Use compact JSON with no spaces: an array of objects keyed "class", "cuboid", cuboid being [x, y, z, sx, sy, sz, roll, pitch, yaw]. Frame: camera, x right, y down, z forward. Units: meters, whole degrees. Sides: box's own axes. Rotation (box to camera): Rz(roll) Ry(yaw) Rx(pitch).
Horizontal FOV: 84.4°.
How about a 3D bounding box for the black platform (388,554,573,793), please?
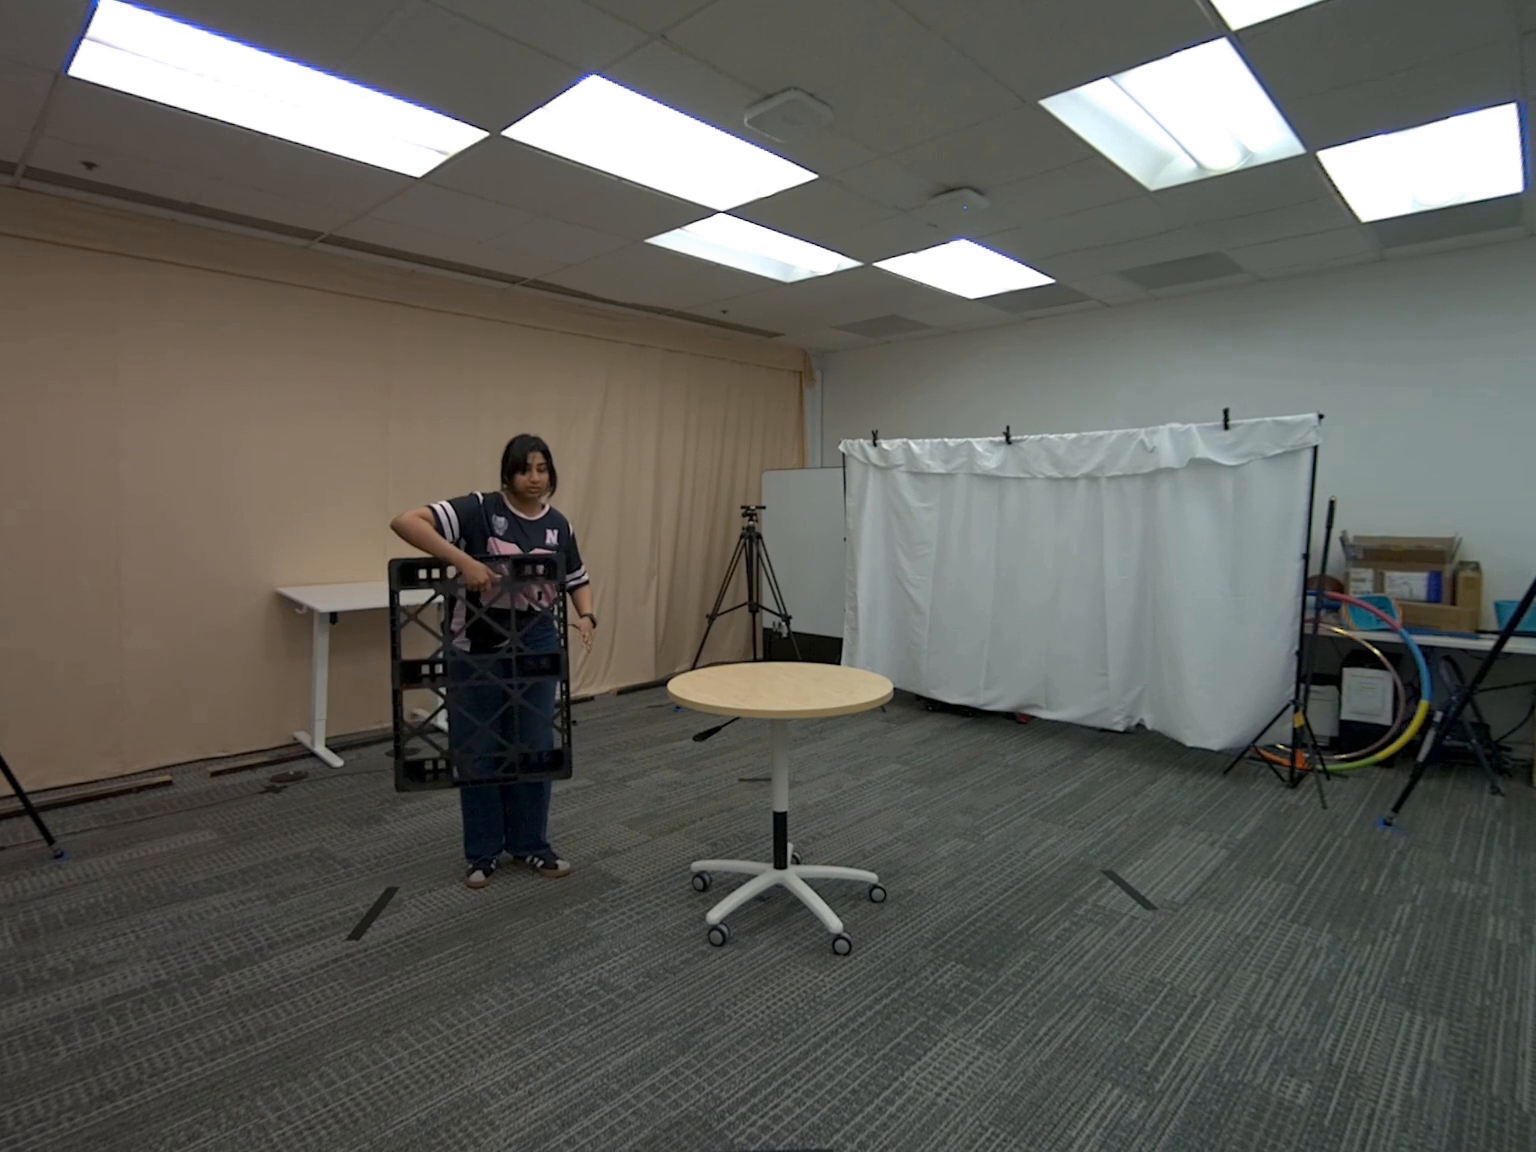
[{"class":"black platform","cuboid":[-1.009,0.335,2.976,0.598,0.805,0.145,-2,0,-10]}]
